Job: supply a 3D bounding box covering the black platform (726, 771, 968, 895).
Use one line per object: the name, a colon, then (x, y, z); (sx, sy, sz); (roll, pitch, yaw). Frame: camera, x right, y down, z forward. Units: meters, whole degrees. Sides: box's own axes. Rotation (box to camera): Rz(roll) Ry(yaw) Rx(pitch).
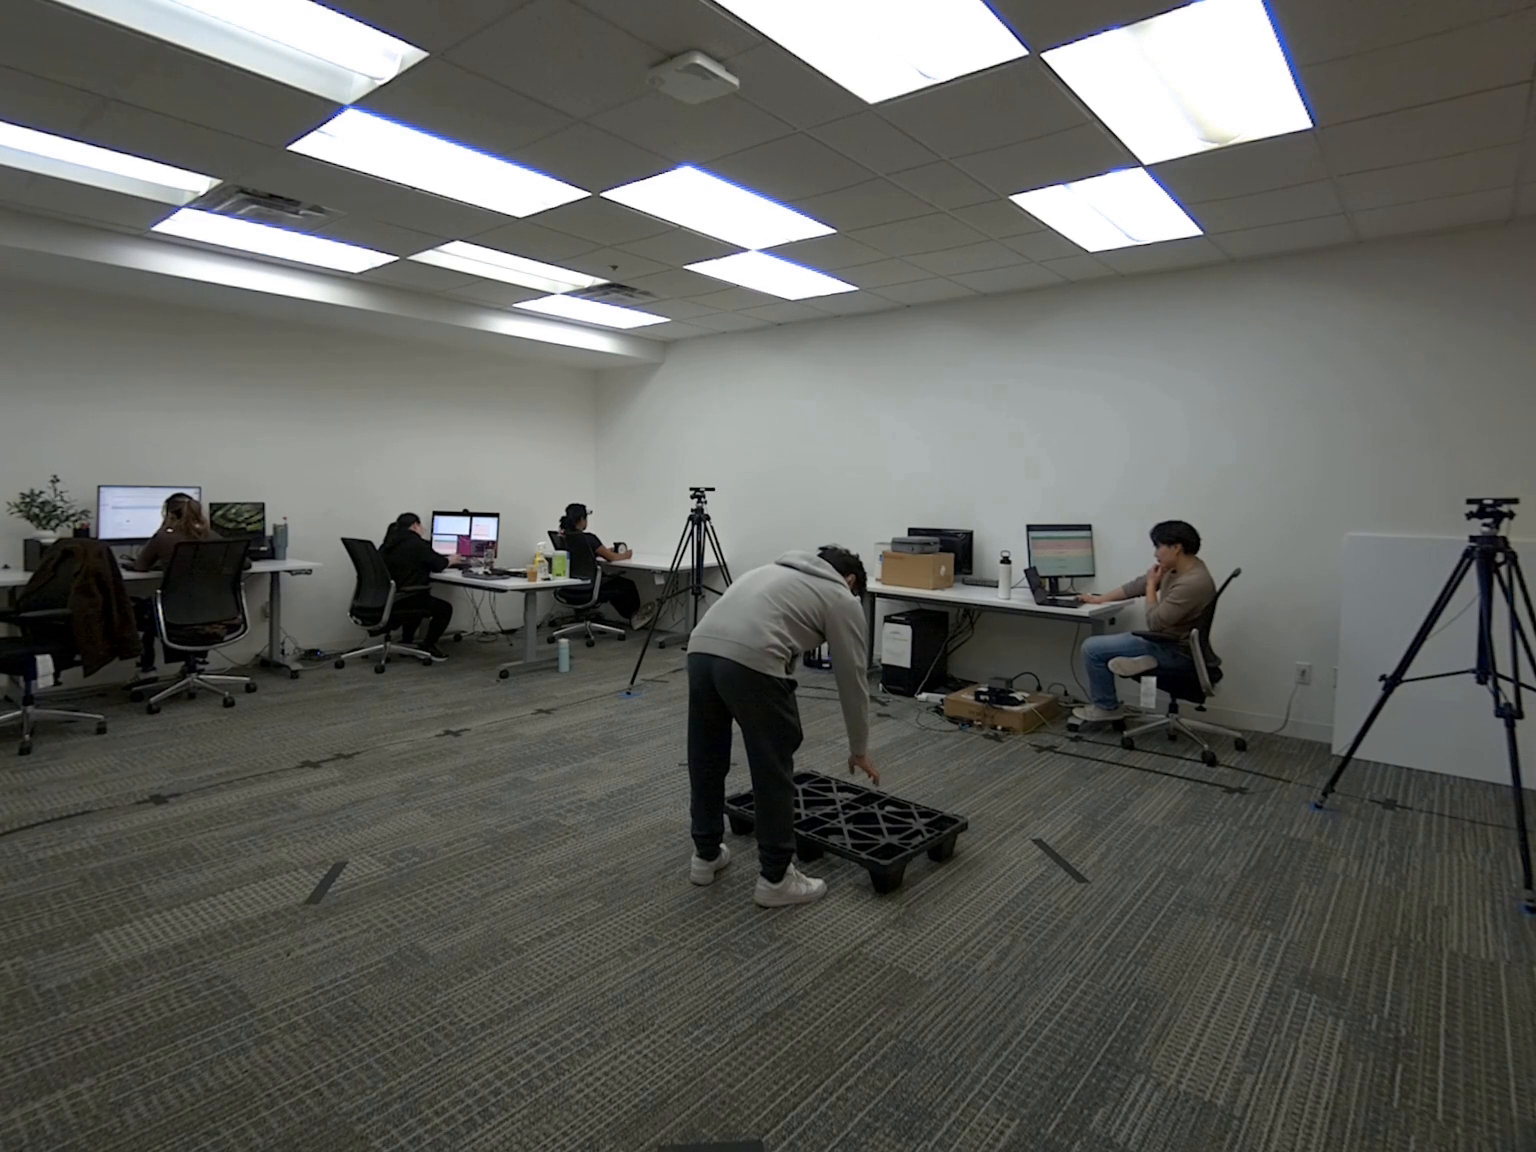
black platform: (0.281, 0.987, 3.353); (0.833, 0.143, 0.587); (6, 8, 42)
